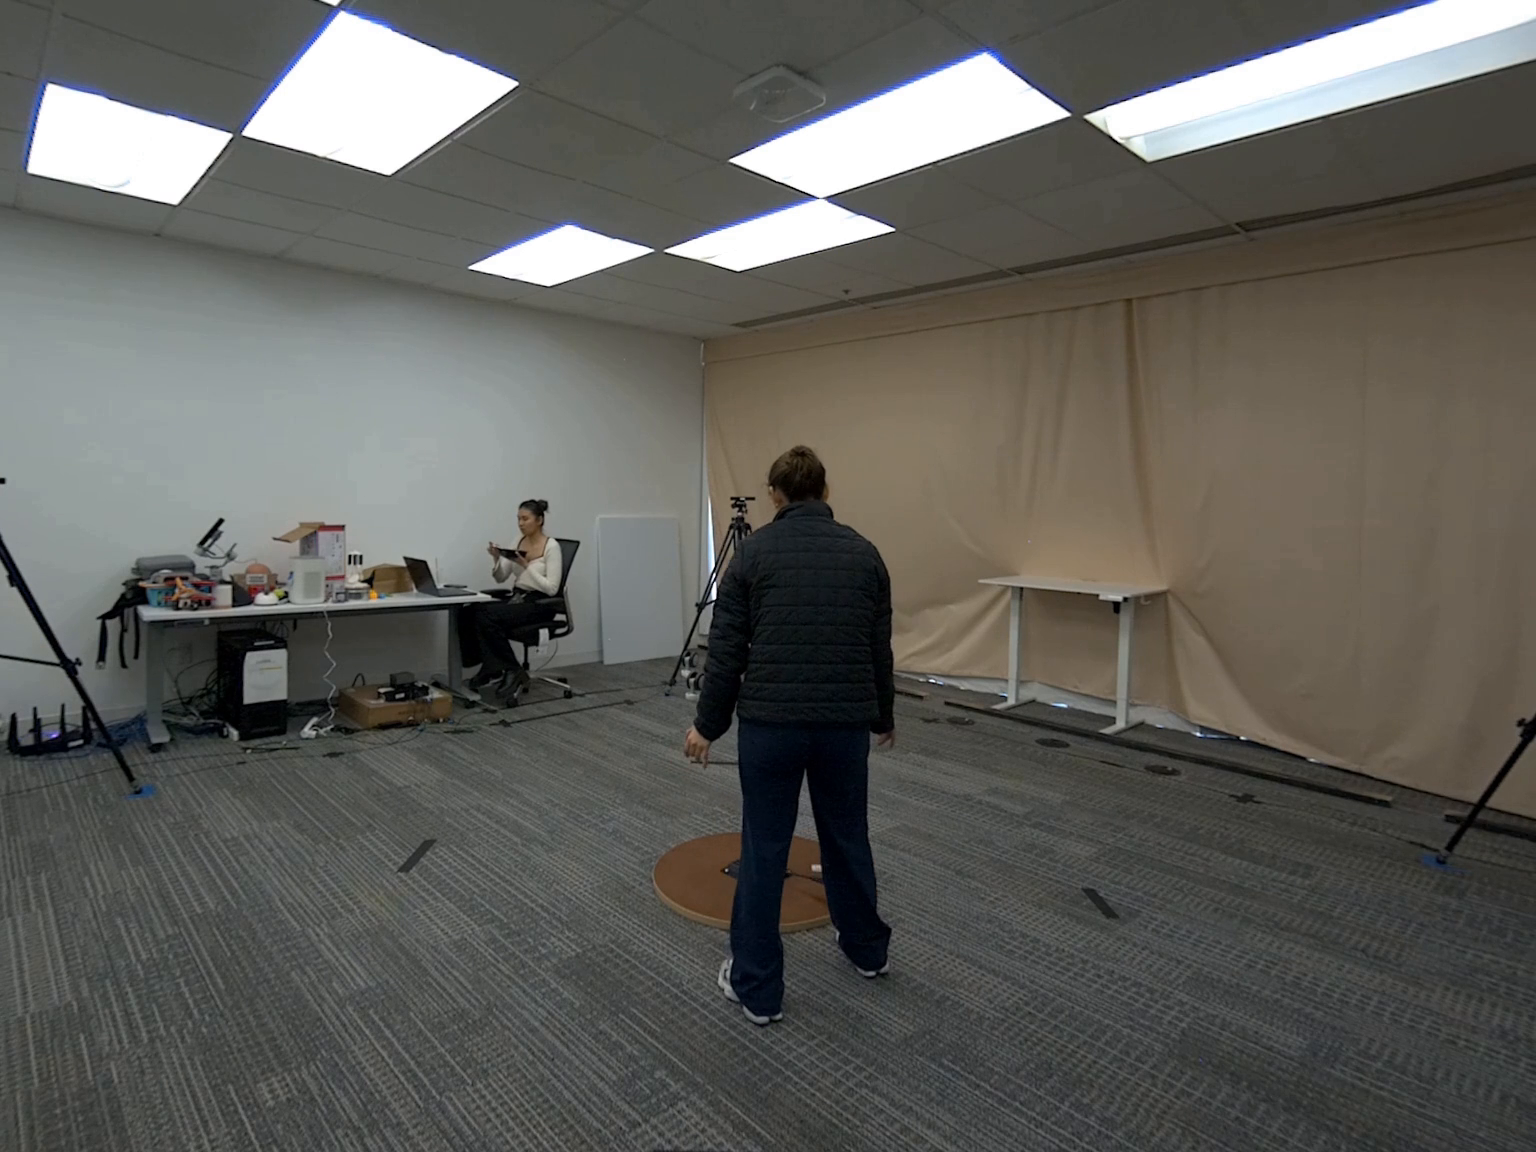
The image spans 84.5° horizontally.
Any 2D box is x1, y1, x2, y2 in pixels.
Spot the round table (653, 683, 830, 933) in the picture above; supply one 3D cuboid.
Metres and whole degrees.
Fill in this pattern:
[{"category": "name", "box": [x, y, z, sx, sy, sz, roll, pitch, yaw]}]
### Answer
[{"category": "round table", "box": [-0.022, 0.717, 3.040, 0.784, 0.785, 0.787, 1, 3, -1]}]
